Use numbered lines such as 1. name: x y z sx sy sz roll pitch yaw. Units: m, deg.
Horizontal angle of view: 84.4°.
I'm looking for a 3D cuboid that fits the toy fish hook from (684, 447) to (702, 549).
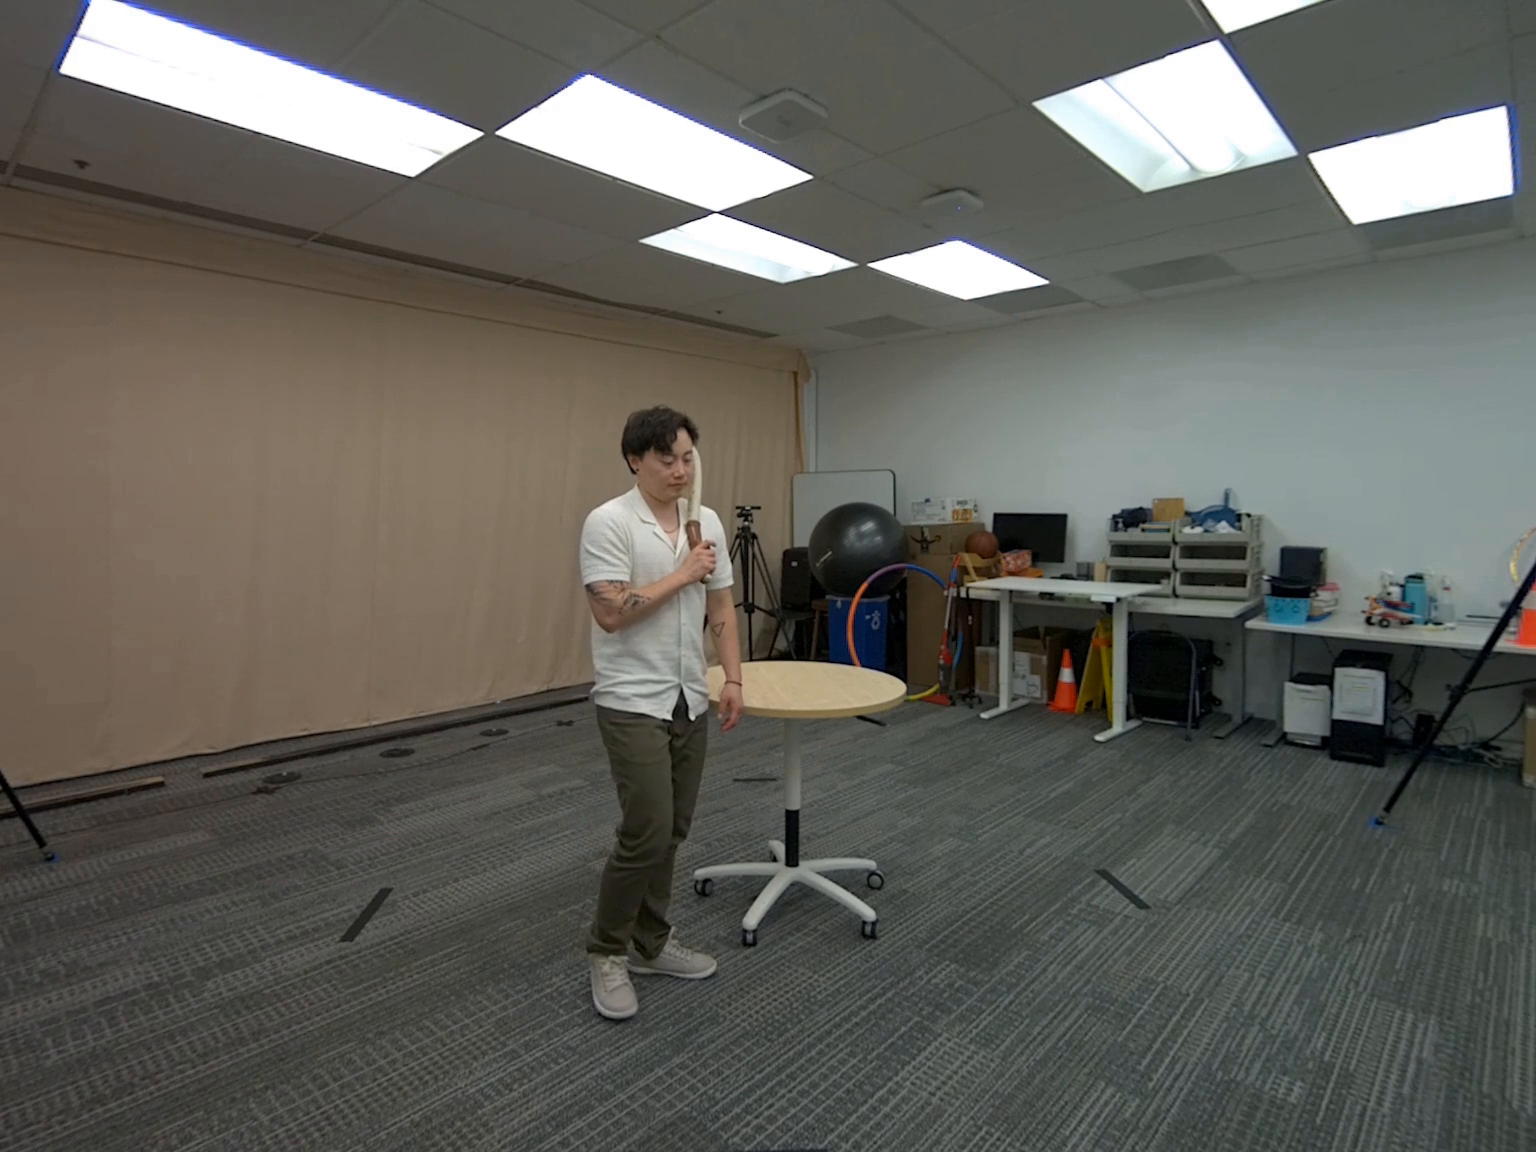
1. toy fish hook: -0.267 -0.179 2.513 0.228 0.517 0.046 -32 -34 34
